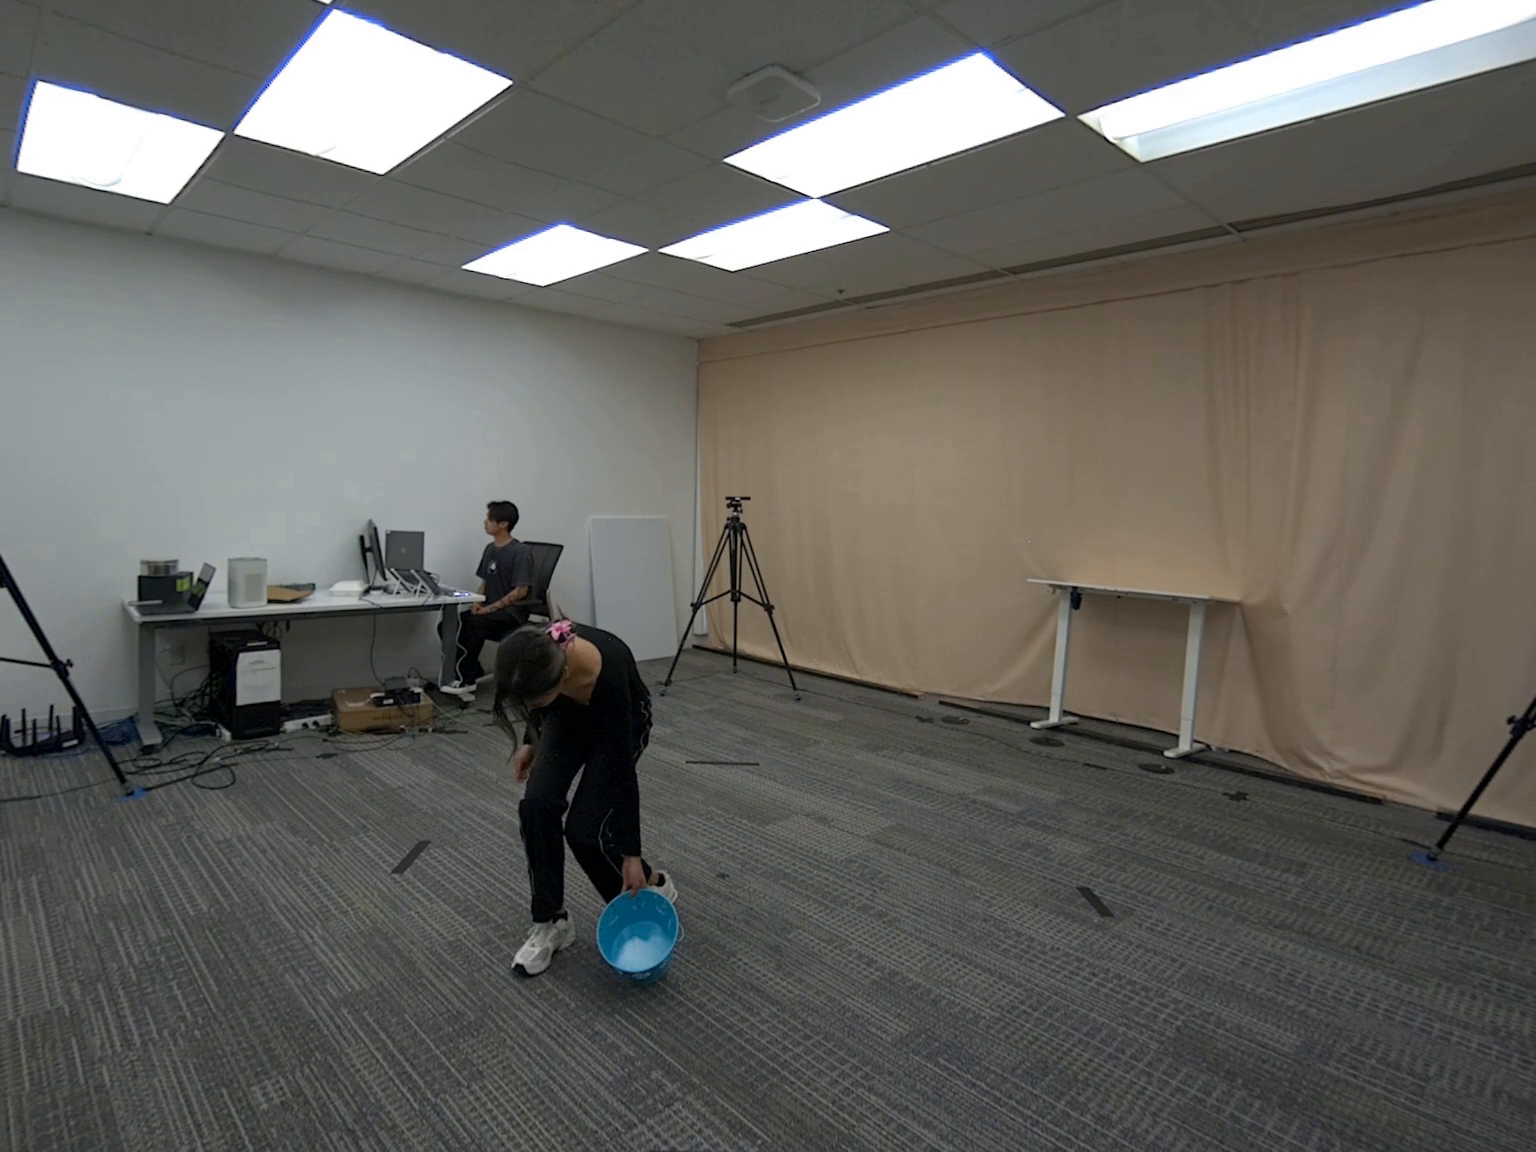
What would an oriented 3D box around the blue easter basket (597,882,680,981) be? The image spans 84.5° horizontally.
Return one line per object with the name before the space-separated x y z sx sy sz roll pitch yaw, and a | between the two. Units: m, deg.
blue easter basket | -0.371 1.054 2.412 0.244 0.152 0.249 -2 41 0
